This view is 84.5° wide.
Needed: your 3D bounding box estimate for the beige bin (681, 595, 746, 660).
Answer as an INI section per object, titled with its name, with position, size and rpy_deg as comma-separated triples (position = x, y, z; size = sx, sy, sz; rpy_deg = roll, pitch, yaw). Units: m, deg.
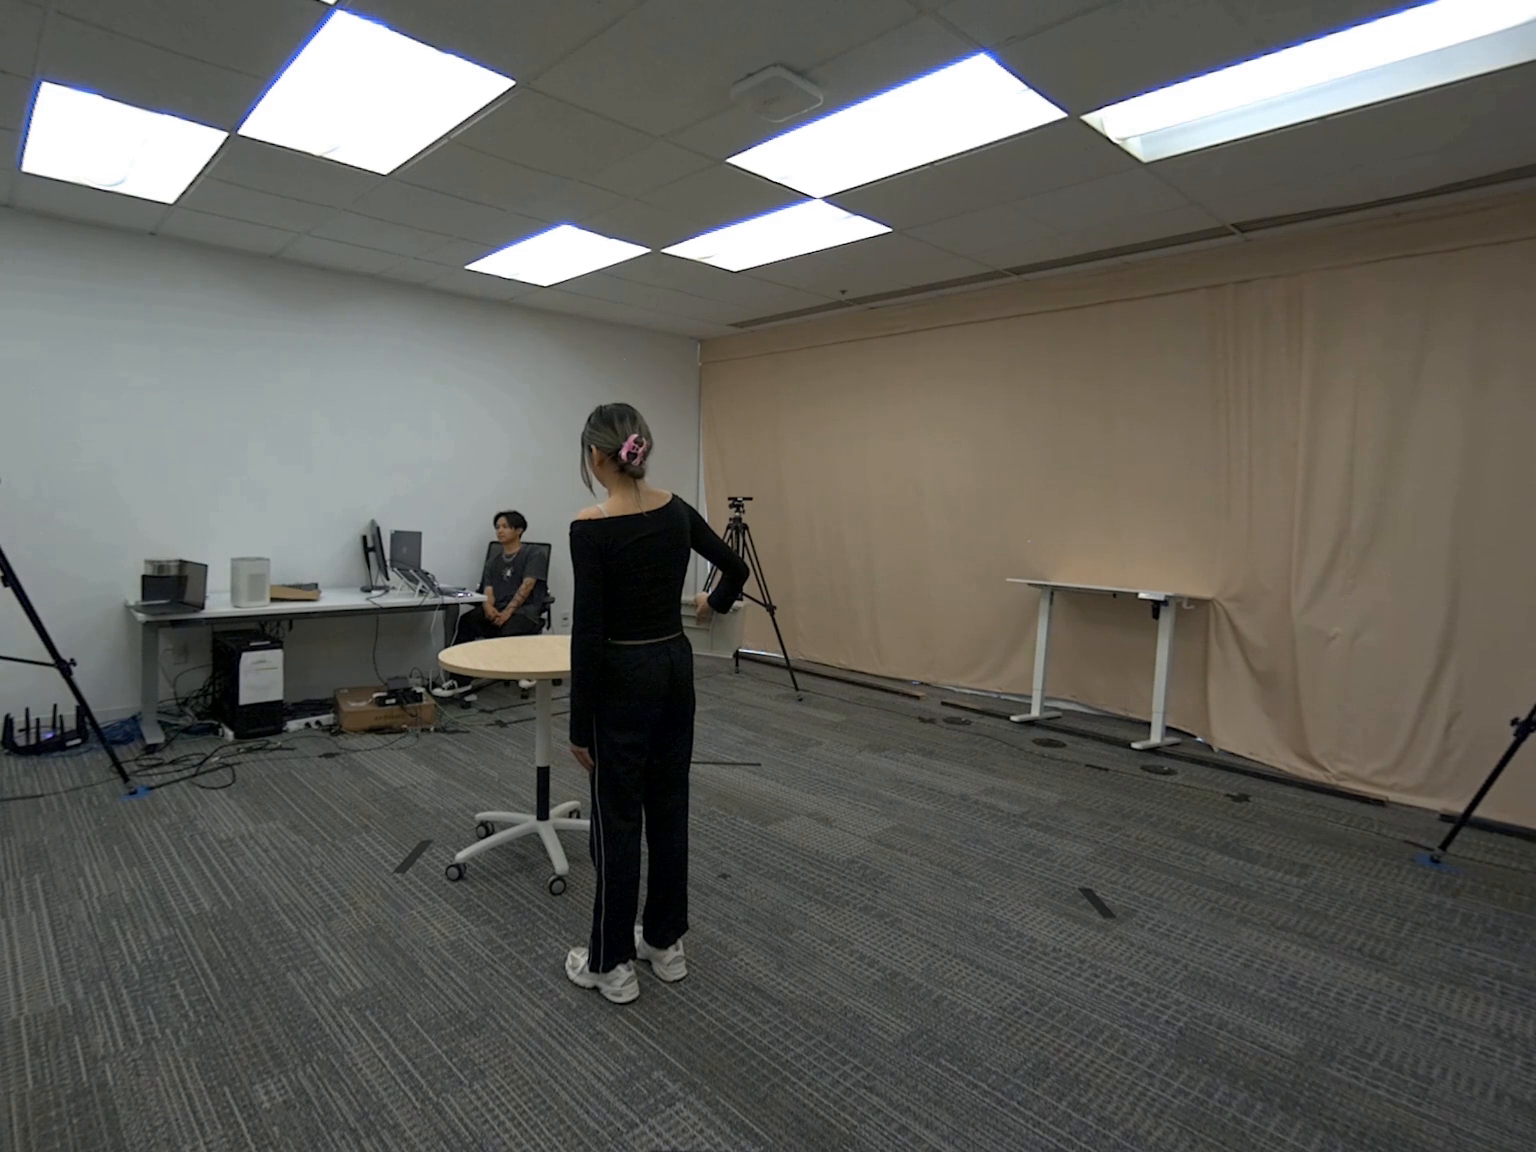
[beige bin]
position = -0.291, 0.170, 3.036
size = 0.378, 0.189, 0.421
rpy_deg = 7, 0, 3
